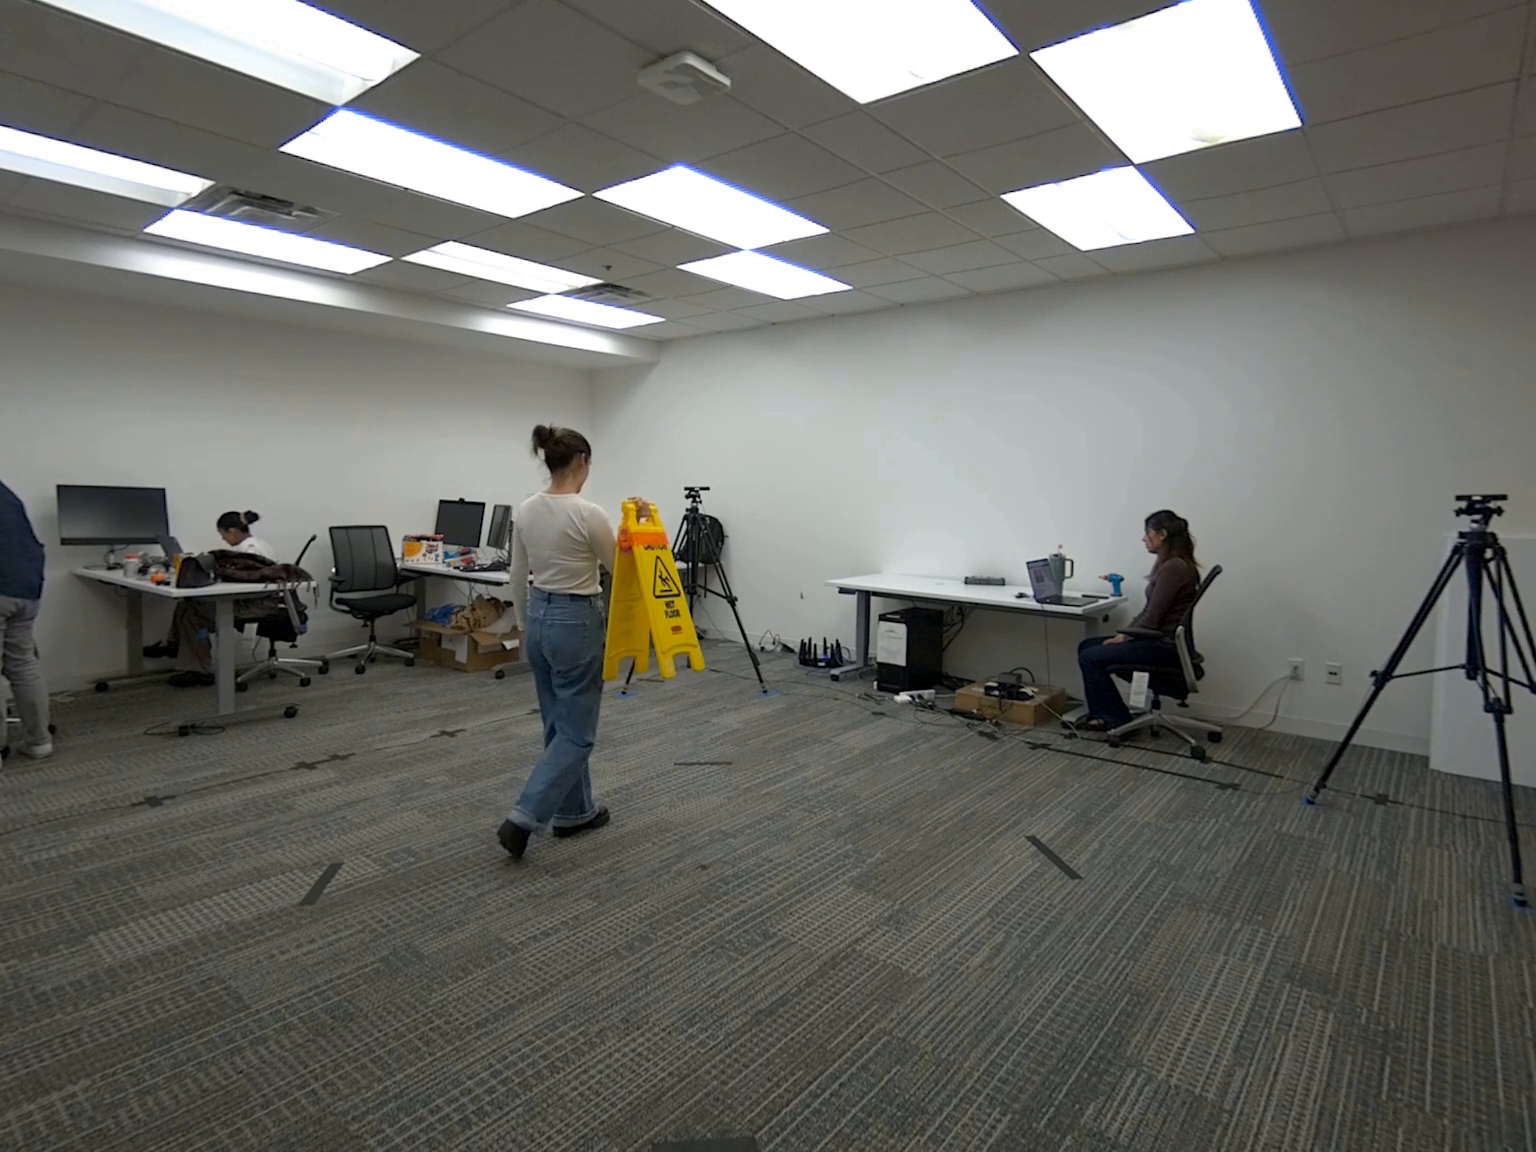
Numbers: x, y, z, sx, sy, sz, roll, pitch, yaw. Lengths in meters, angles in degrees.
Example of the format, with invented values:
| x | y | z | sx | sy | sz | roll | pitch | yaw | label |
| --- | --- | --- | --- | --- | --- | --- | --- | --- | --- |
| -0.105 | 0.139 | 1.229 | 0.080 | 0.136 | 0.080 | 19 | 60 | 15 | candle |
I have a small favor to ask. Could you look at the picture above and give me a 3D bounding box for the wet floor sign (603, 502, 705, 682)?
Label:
| x | y | z | sx | sy | sz | roll | pitch | yaw | label |
| --- | --- | --- | --- | --- | --- | --- | --- | --- | --- |
| -0.462 | 0.044 | 3.161 | 0.296 | 0.649 | 0.275 | -8 | -4 | 27 | wet floor sign |
